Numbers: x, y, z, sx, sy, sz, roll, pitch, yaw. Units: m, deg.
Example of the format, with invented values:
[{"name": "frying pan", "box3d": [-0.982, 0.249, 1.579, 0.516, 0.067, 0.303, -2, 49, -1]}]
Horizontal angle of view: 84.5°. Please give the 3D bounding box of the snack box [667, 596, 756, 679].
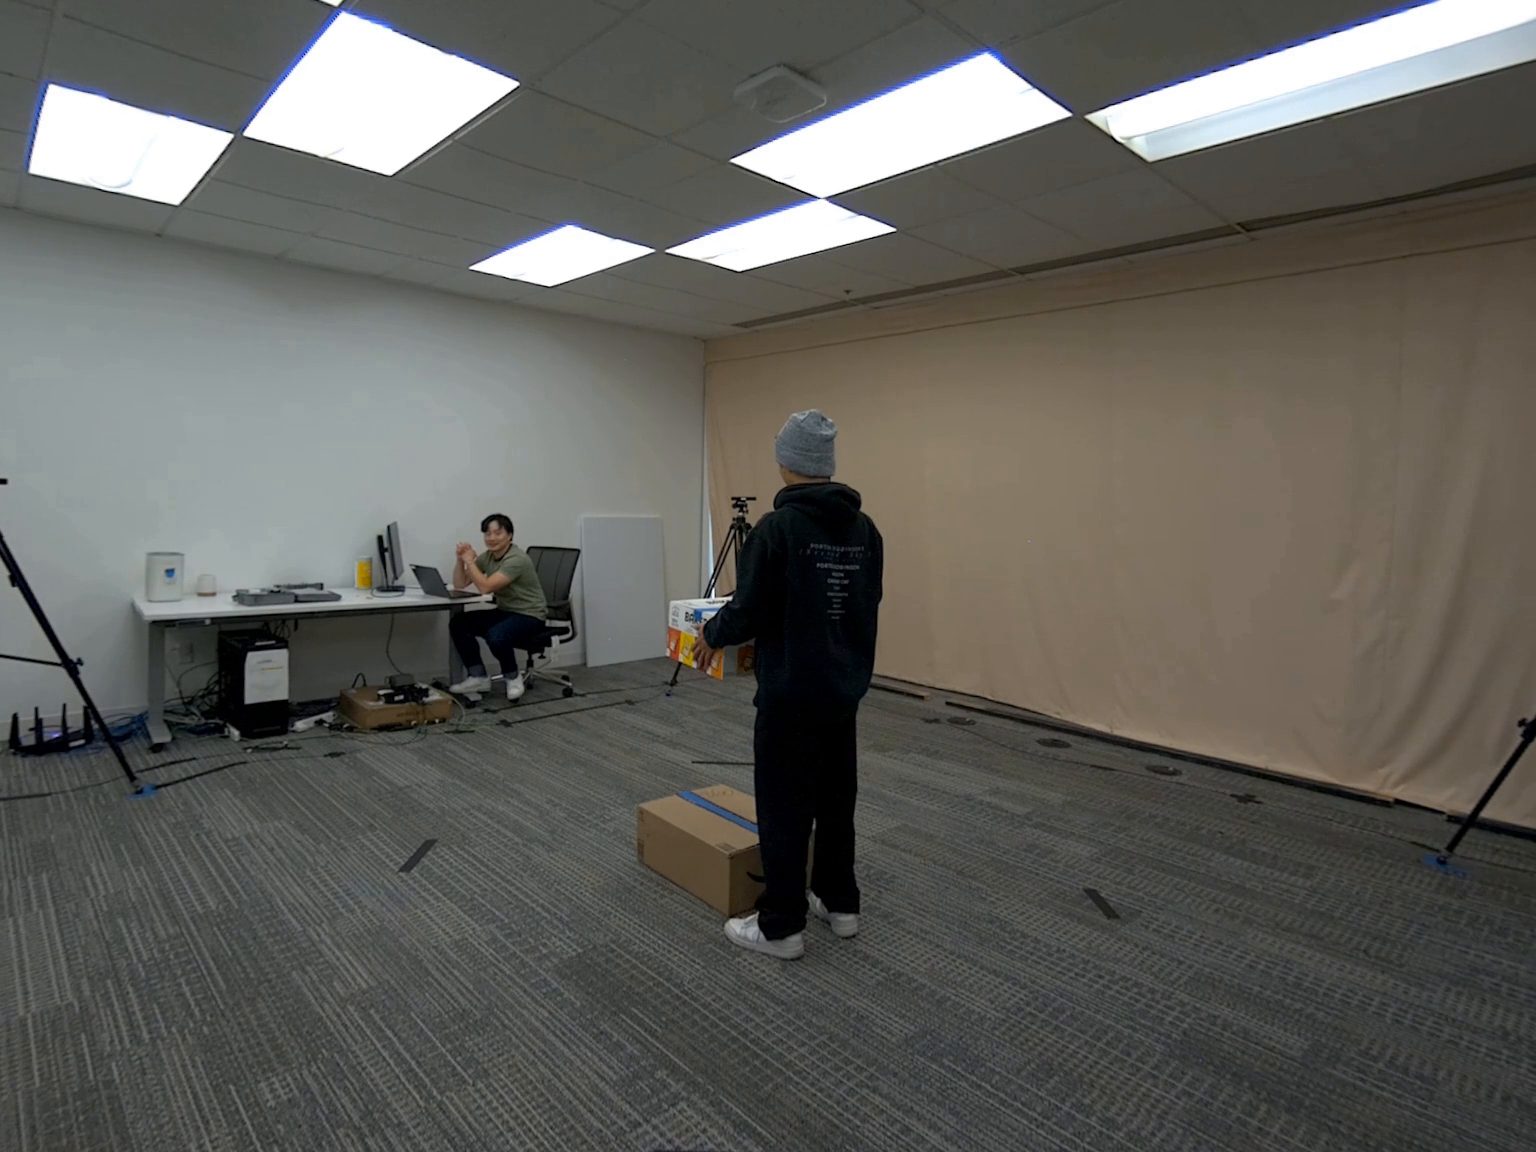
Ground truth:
[{"name": "snack box", "box3d": [-0.105, 0.211, 3.031, 0.396, 0.204, 0.350, -3, 12, -39]}]
